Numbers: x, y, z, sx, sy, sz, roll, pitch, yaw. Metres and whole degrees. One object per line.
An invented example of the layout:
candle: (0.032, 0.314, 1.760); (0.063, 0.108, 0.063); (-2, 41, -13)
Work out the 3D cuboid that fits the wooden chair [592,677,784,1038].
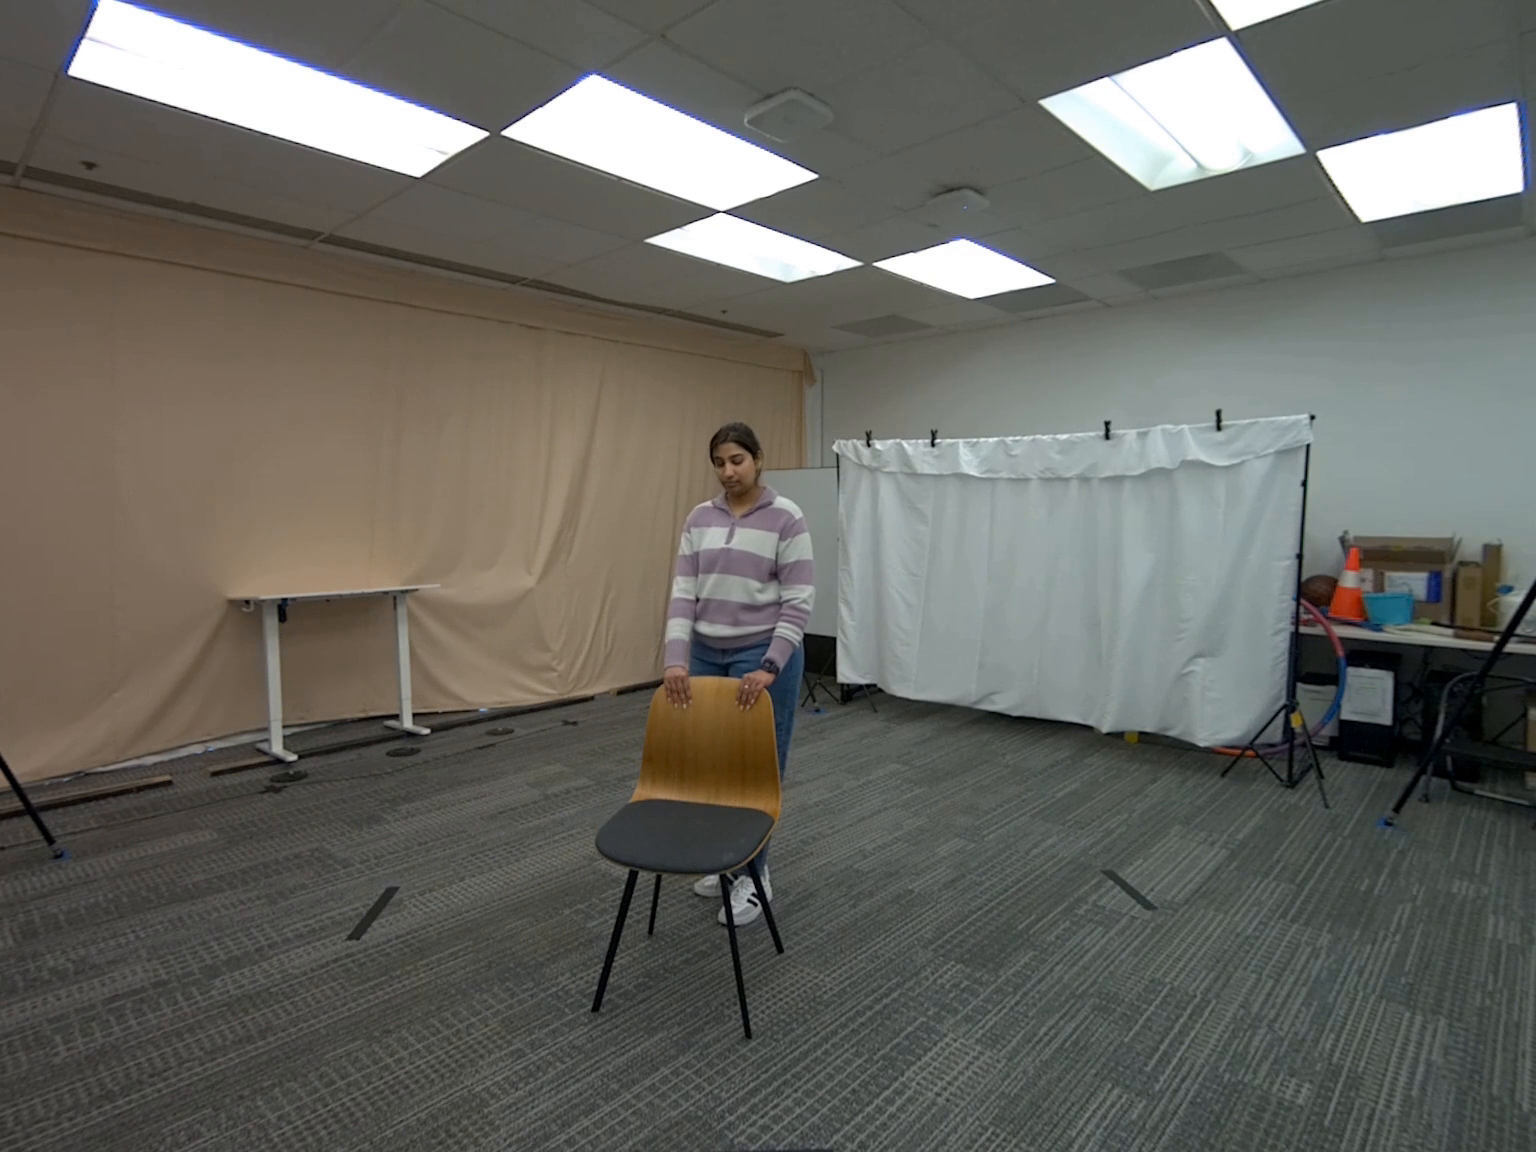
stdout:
wooden chair: (-0.210, 0.755, 2.436); (0.486, 0.878, 0.514); (1, -1, 14)
